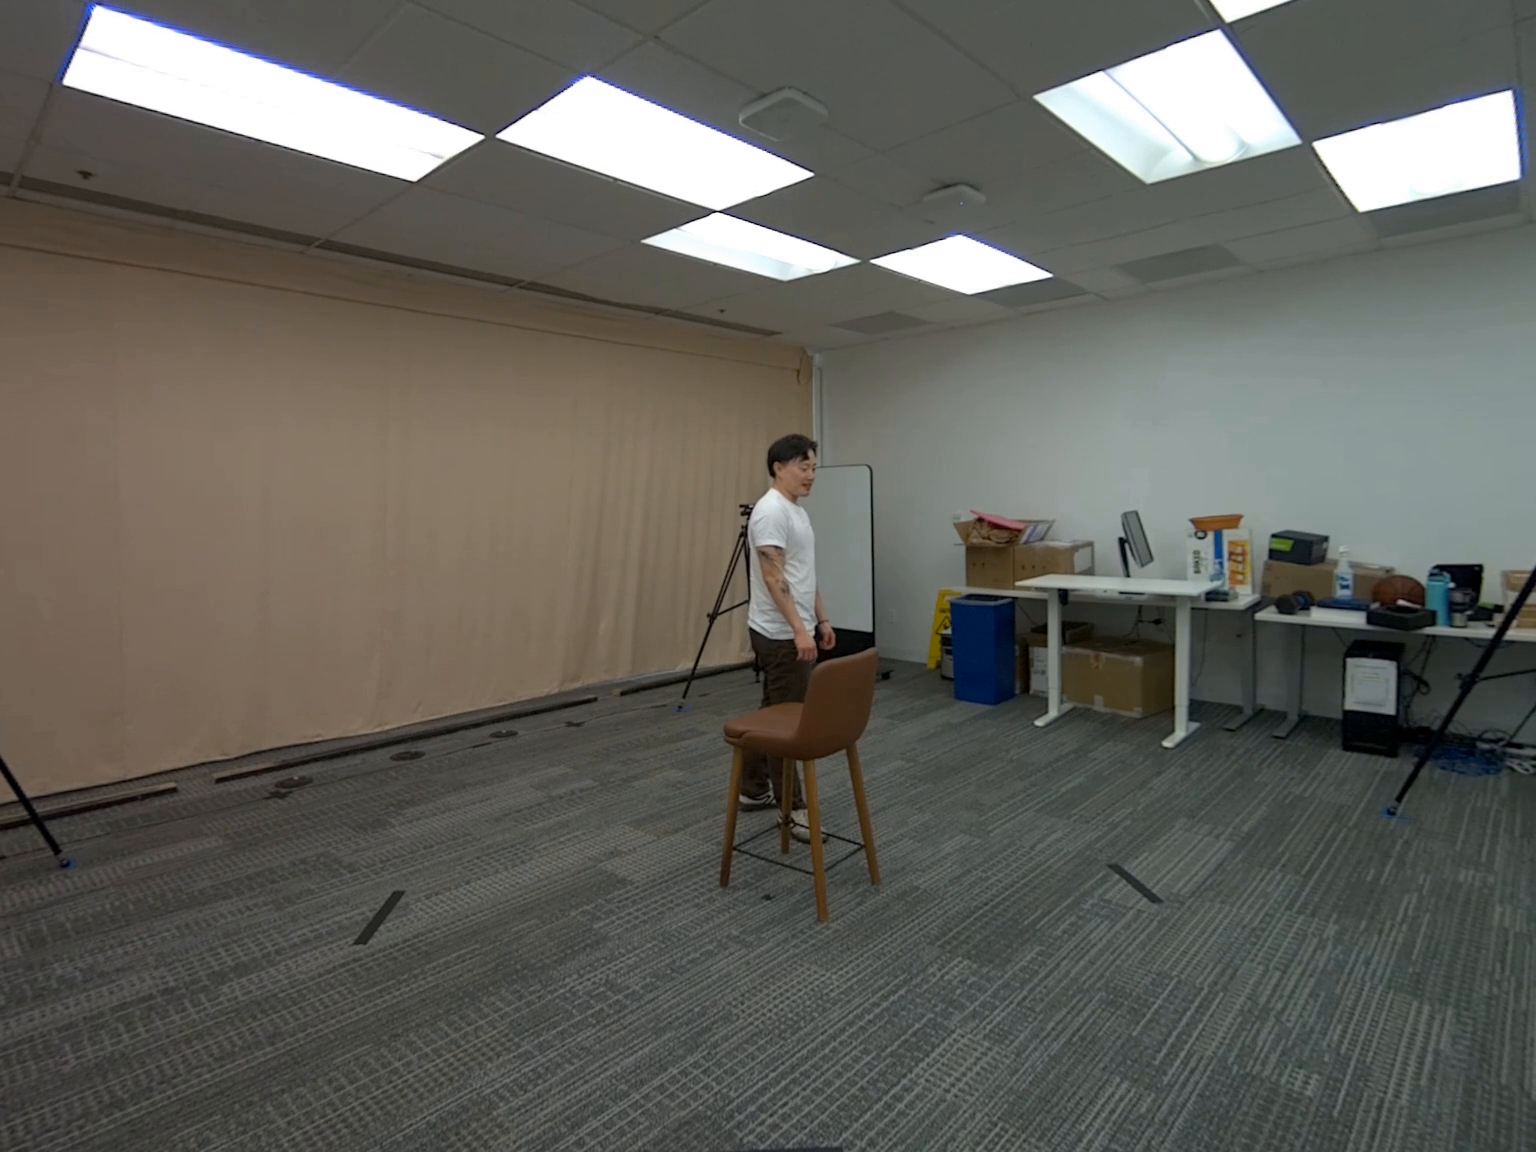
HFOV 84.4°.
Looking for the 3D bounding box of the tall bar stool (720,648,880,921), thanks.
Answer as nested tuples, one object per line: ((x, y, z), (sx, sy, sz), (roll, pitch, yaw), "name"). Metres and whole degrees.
((0.122, 0.694, 3.054), (0.483, 0.887, 0.443), (5, 7, 39), "tall bar stool")
